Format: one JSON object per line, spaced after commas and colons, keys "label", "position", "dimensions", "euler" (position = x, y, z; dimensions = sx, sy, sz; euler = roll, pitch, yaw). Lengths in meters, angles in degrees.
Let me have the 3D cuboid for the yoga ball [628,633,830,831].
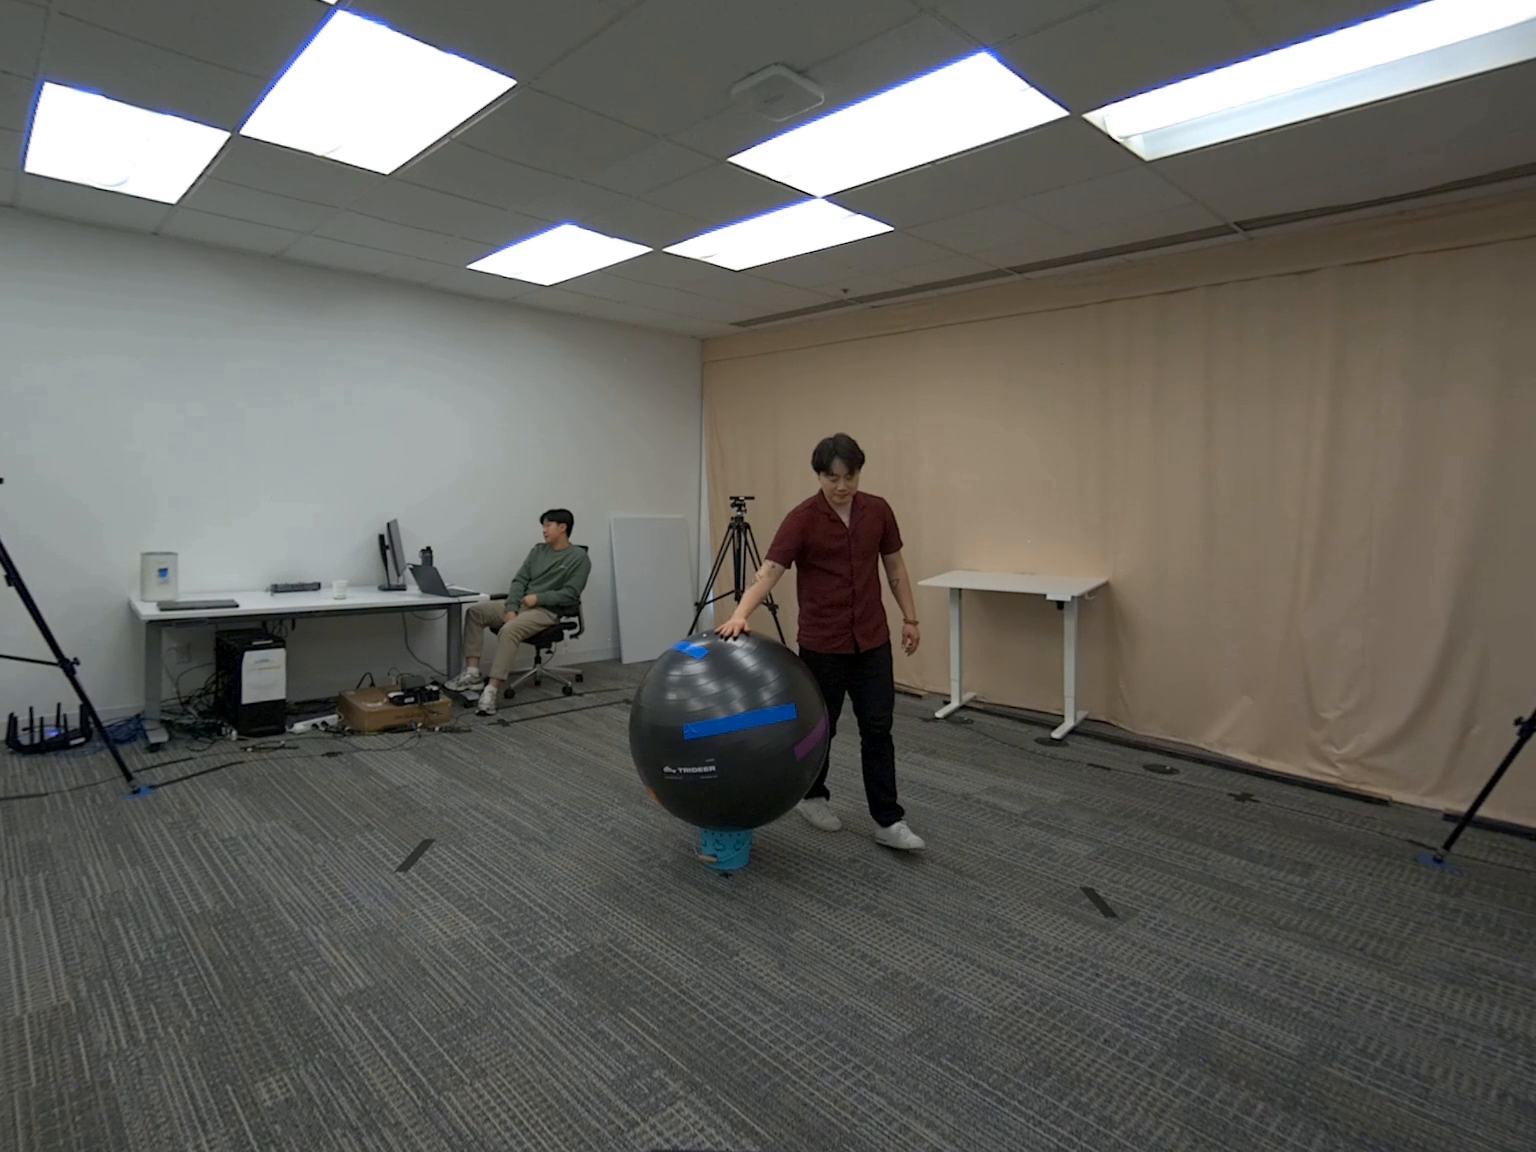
{"label": "yoga ball", "position": [-0.161, 0.586, 3.212], "dimensions": [0.757, 0.756, 0.761], "euler": [1, 4, -1]}
